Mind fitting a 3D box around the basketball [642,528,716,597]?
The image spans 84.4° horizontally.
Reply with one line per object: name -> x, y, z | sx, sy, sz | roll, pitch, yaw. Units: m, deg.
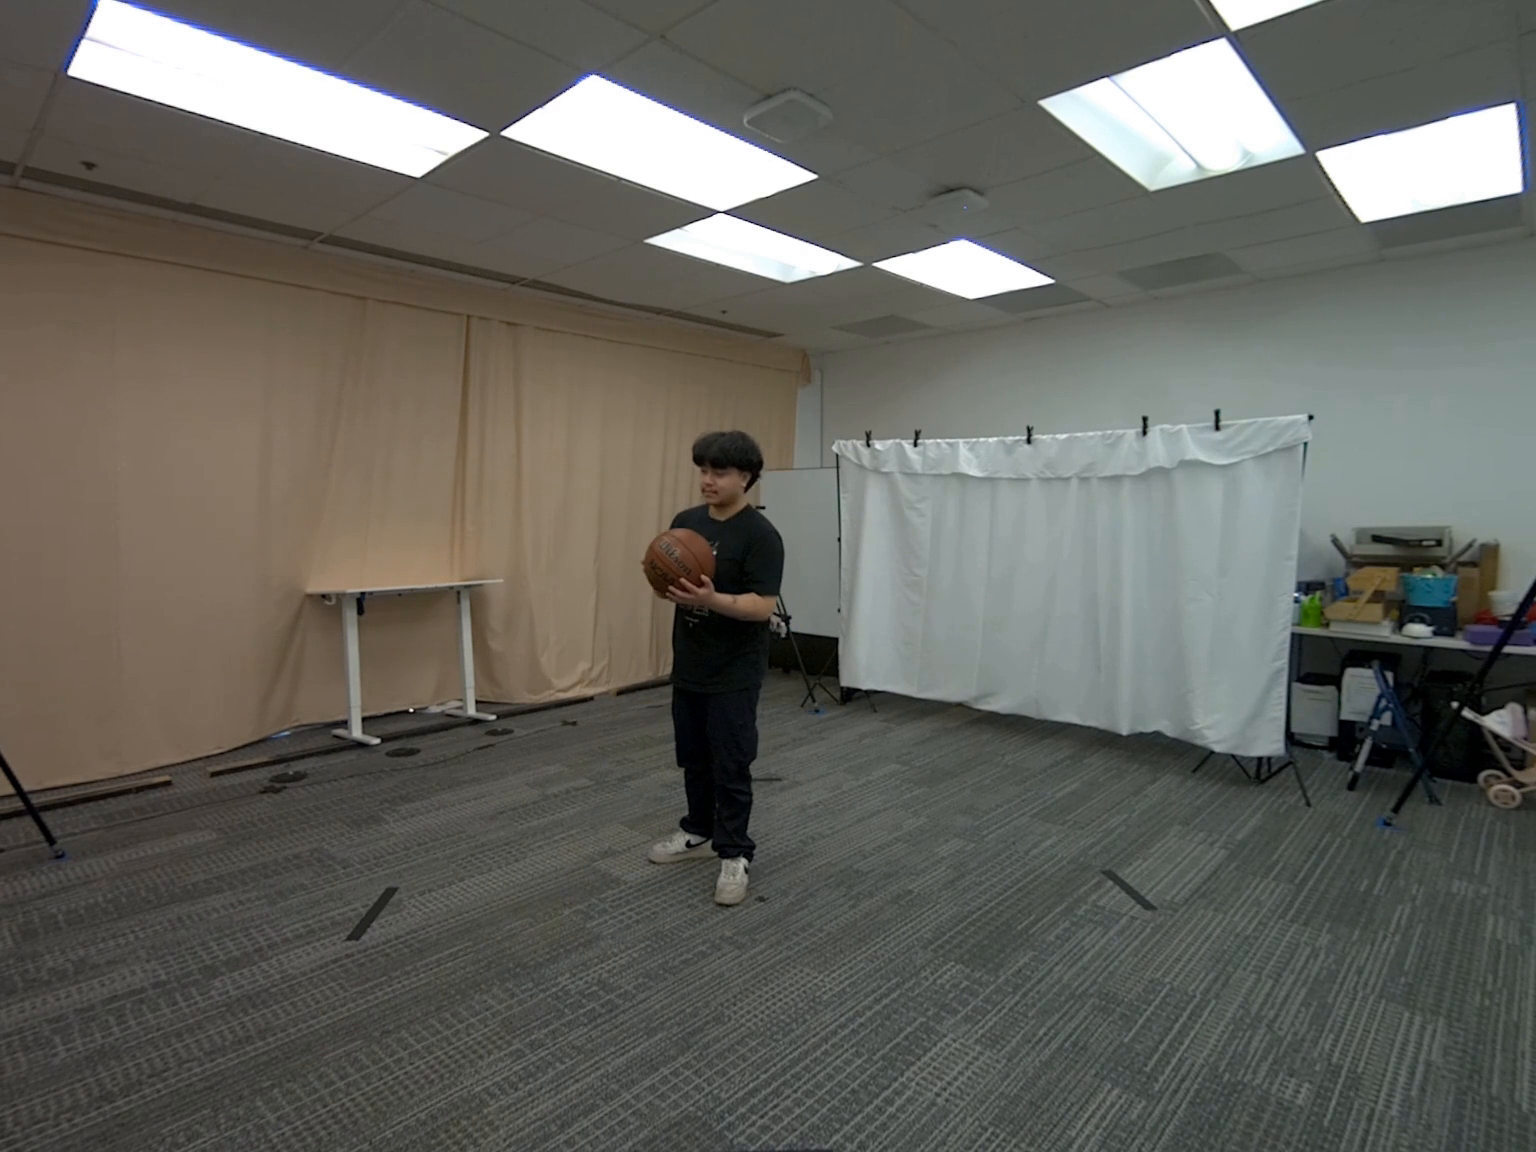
basketball -> -0.289, -0.037, 2.830 | 0.236, 0.235, 0.237 | 0, 4, -2
